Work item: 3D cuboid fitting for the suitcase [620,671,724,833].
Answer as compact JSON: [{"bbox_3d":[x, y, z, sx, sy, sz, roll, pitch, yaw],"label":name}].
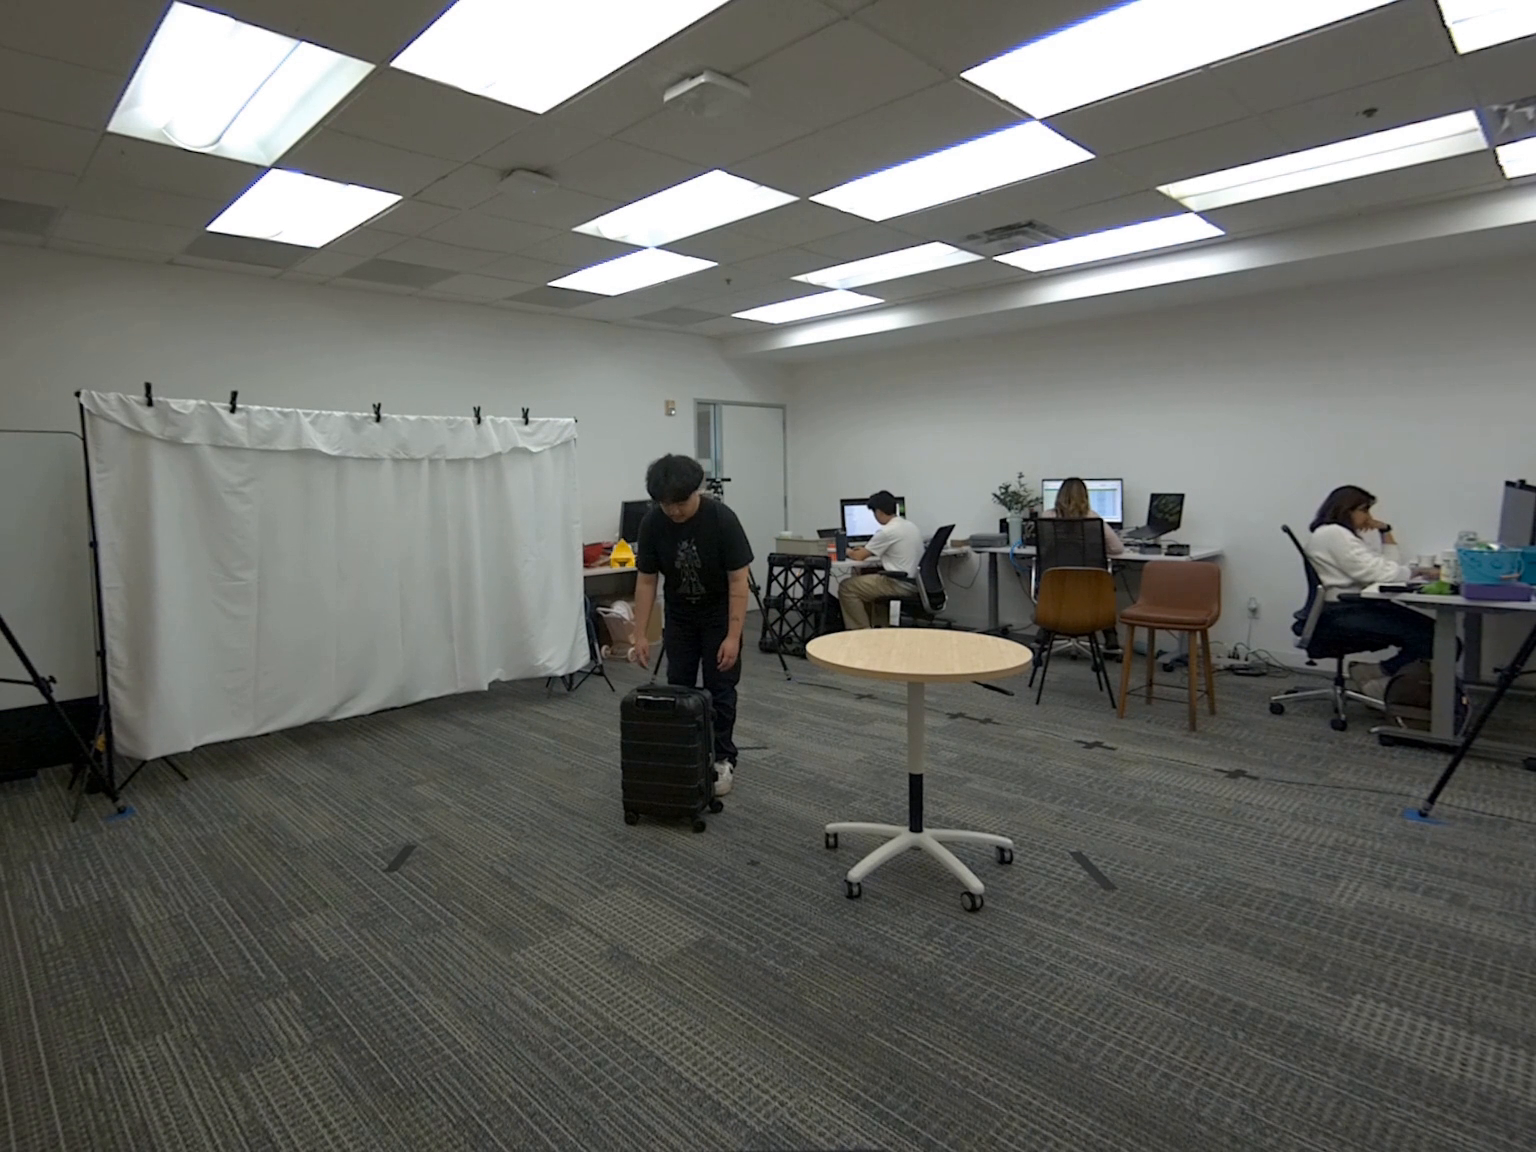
[{"bbox_3d":[-0.417,0.732,3.529,0.382,0.547,0.245,-1,4,18],"label":"suitcase"}]
